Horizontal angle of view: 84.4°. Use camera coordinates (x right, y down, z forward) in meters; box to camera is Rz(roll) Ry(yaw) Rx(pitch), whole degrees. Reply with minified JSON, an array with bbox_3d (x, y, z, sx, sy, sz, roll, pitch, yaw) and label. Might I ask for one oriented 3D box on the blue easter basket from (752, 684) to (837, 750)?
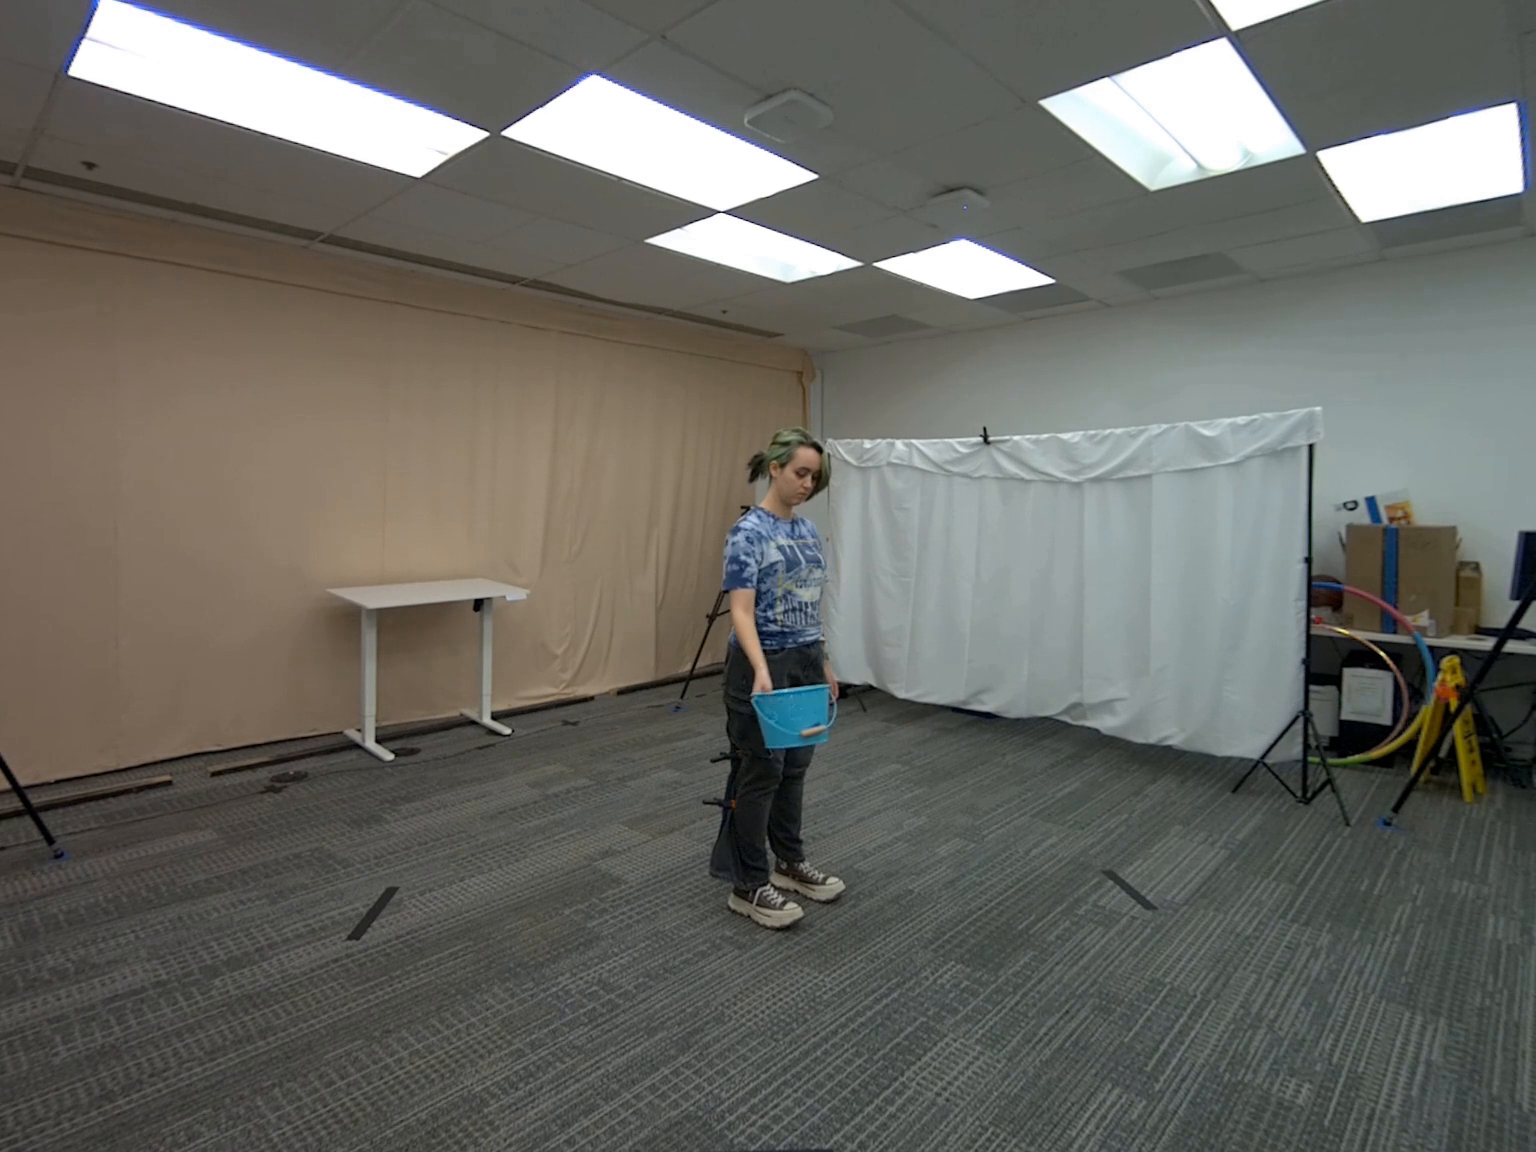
[{"bbox_3d":[0.066,0.393,2.407,0.243,0.157,0.243,-6,-7,-3],"label":"blue easter basket"}]
